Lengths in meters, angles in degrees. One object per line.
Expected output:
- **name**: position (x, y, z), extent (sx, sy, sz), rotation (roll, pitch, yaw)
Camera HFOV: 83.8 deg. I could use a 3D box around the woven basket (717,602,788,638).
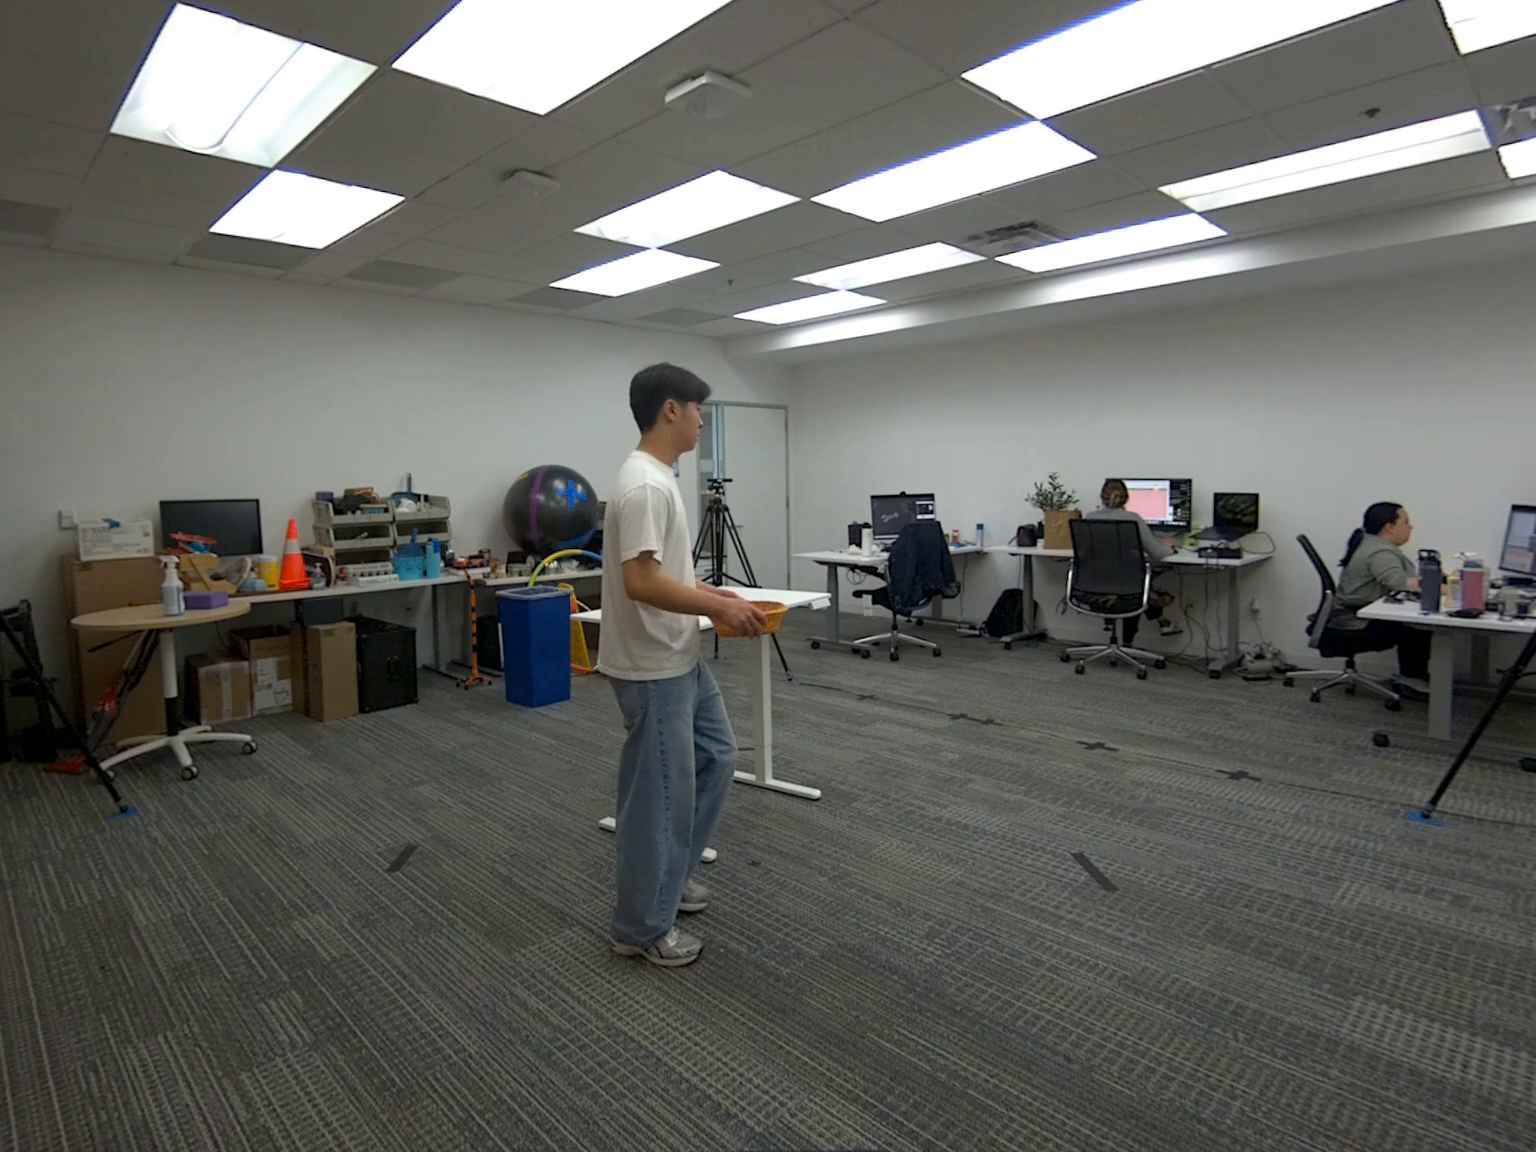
- **woven basket**: position (-0.097, 0.136, 2.592), extent (0.251, 0.073, 0.354), rotation (-3, 5, -8)
